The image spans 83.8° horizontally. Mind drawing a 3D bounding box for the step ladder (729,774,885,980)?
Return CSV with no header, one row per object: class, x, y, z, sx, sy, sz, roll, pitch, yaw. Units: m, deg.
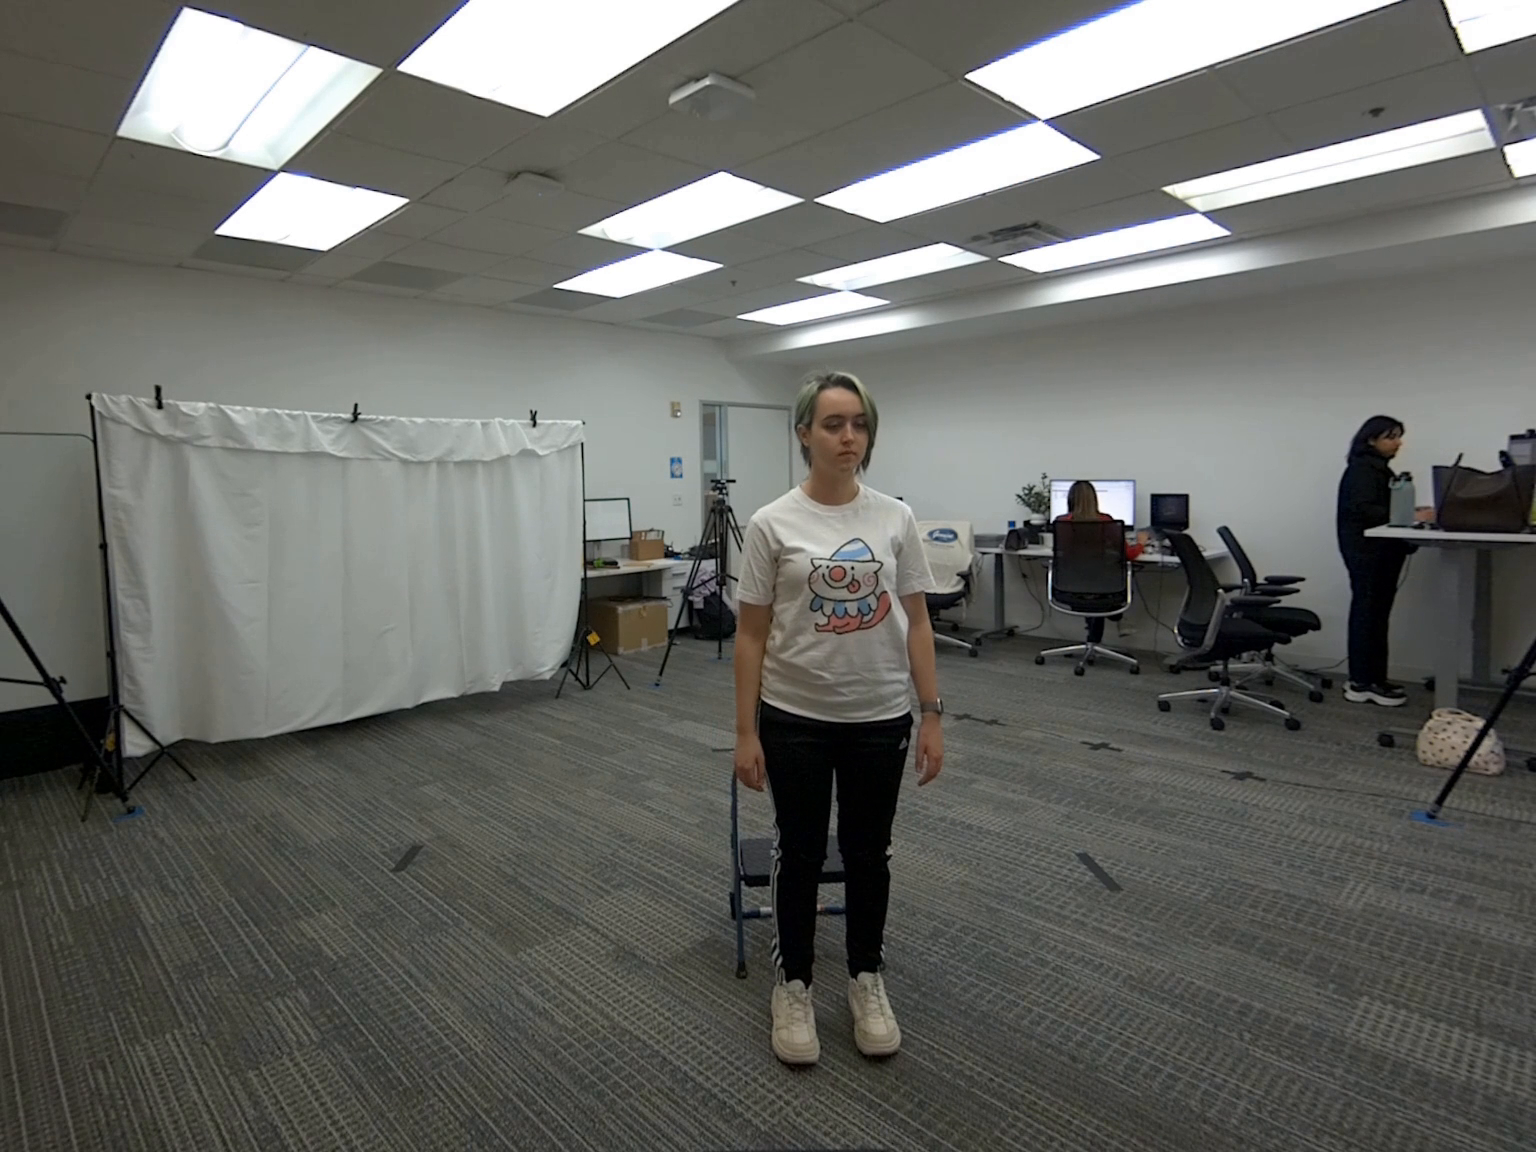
step ladder,0.098,0.812,2.568,0.428,0.604,0.352,-1,5,-6
